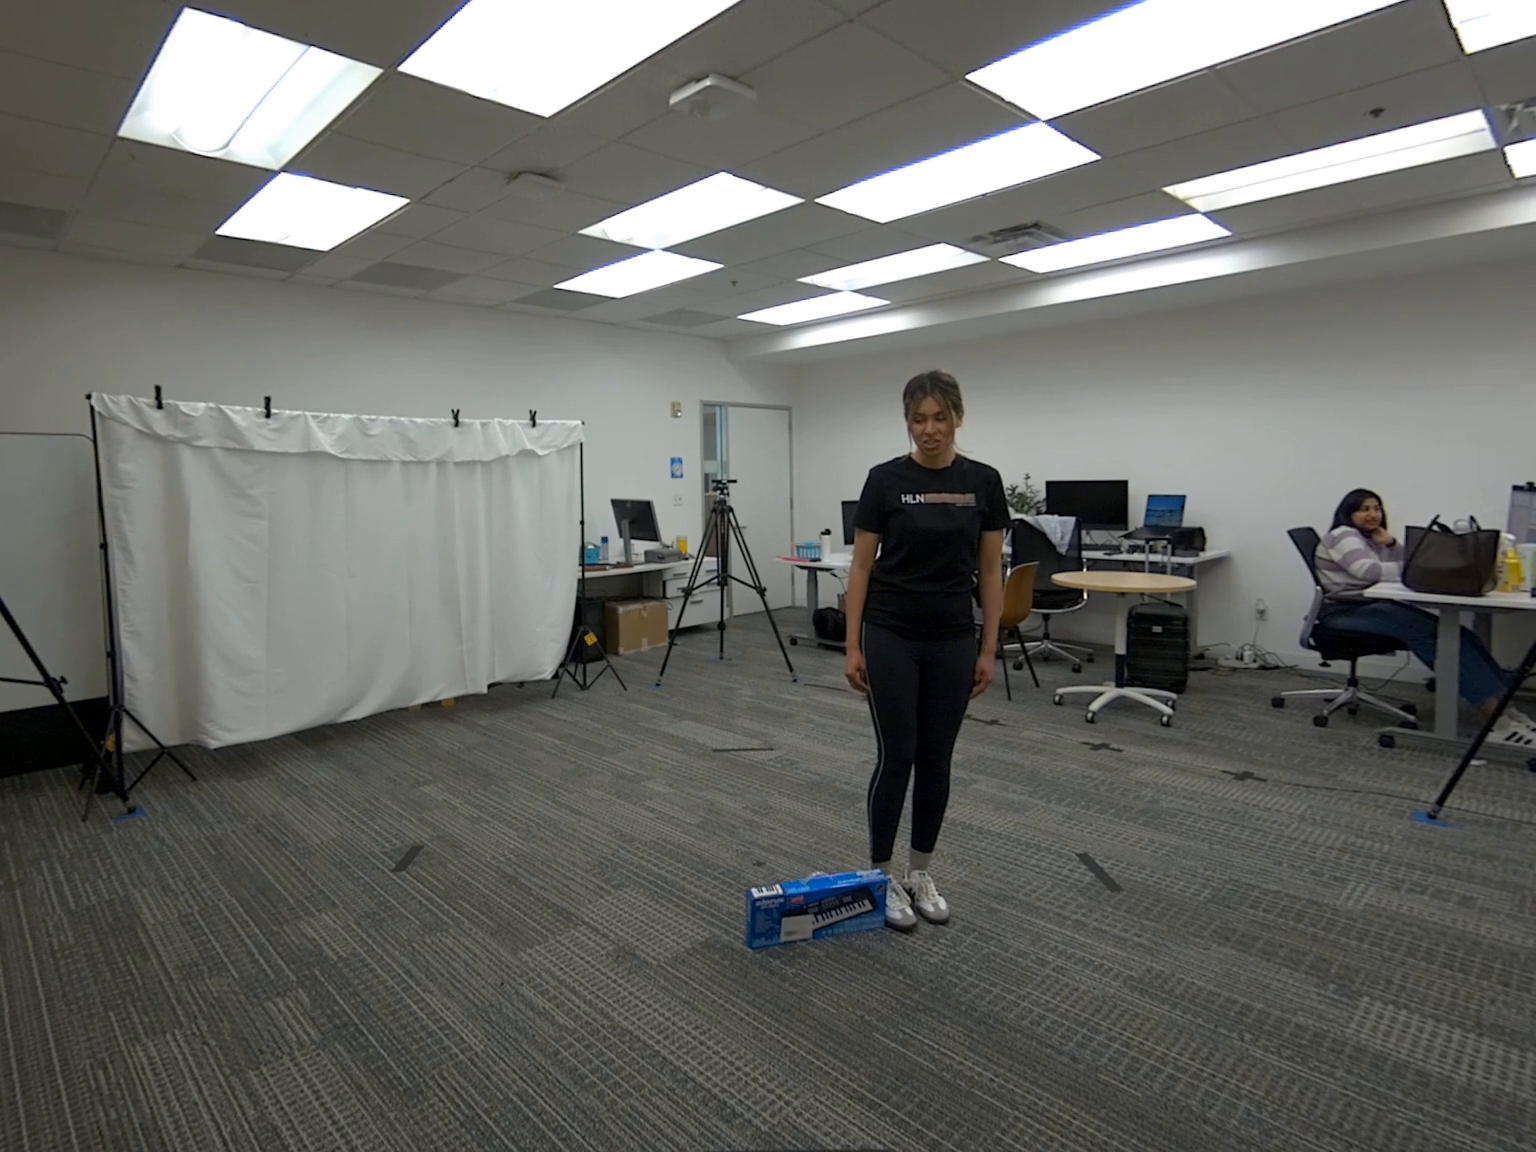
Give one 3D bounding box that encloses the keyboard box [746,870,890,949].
[{"bbox_3d":[0.152,1.015,2.602,0.431,0.174,0.060,-2,12,-15],"label":"keyboard box"}]
